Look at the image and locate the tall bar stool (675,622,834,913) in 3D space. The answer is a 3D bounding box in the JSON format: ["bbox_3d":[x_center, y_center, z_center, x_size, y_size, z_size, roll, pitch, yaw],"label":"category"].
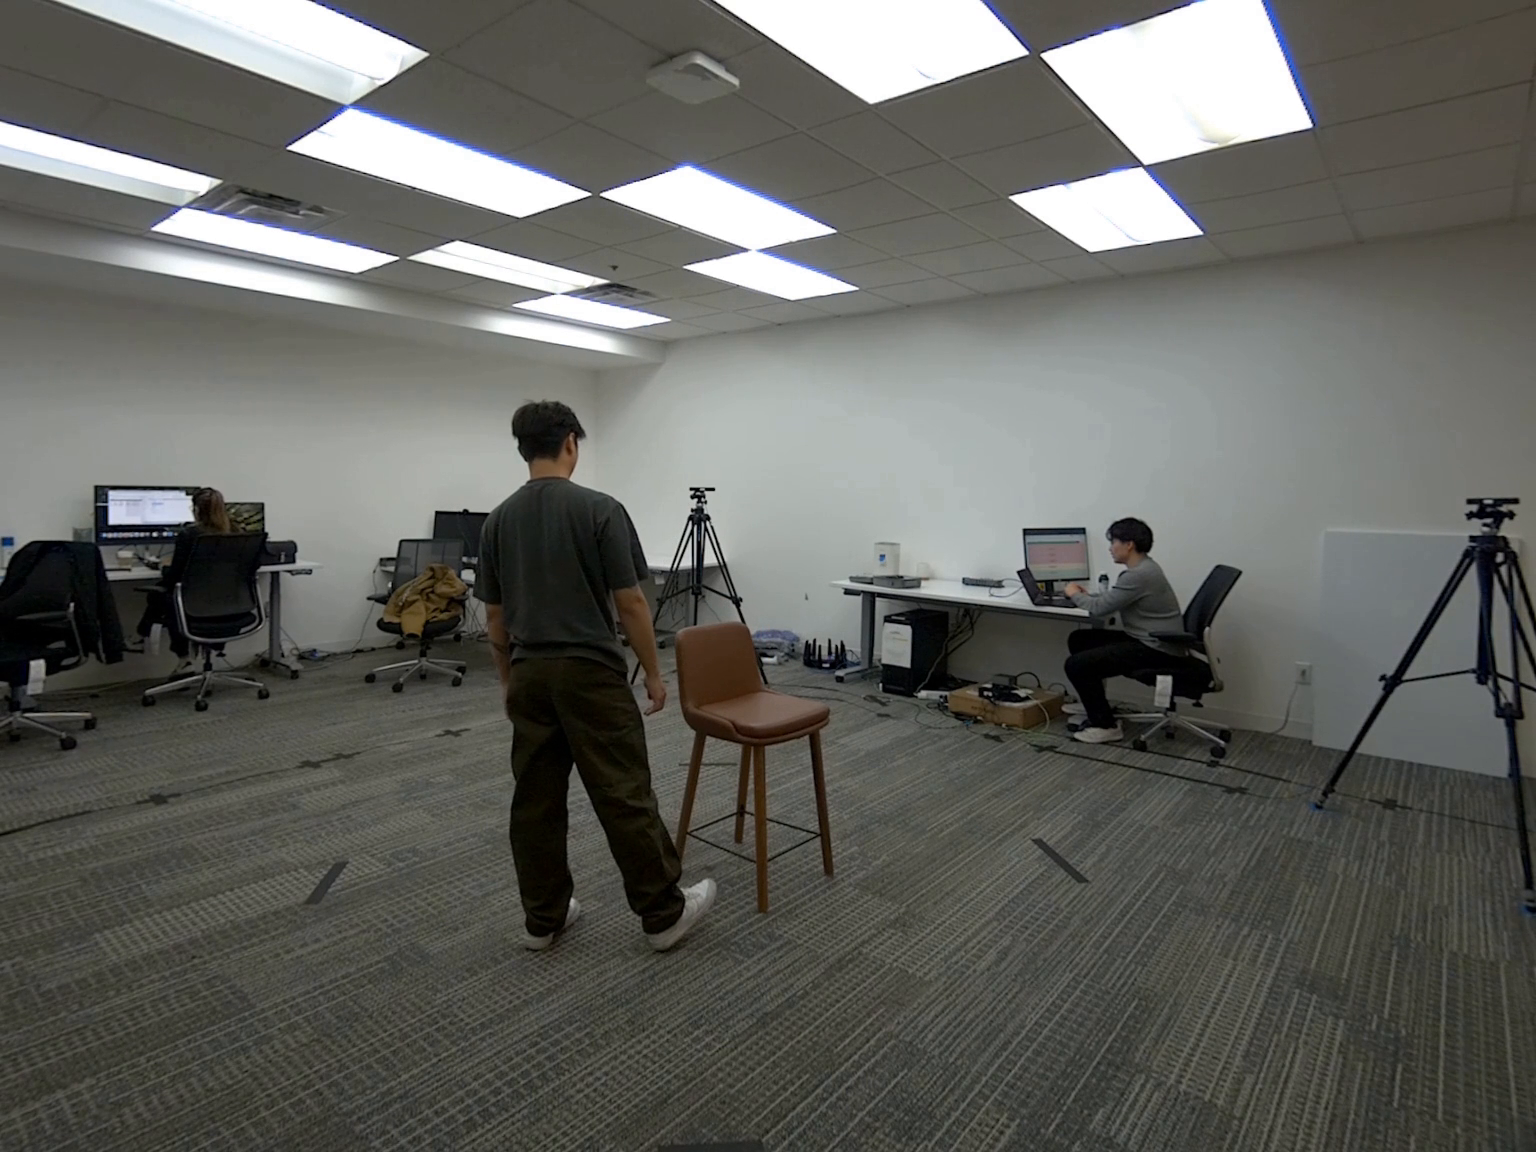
[{"bbox_3d":[-0.064,0.638,3.065,0.483,0.888,0.442,2,2,41],"label":"tall bar stool"}]
